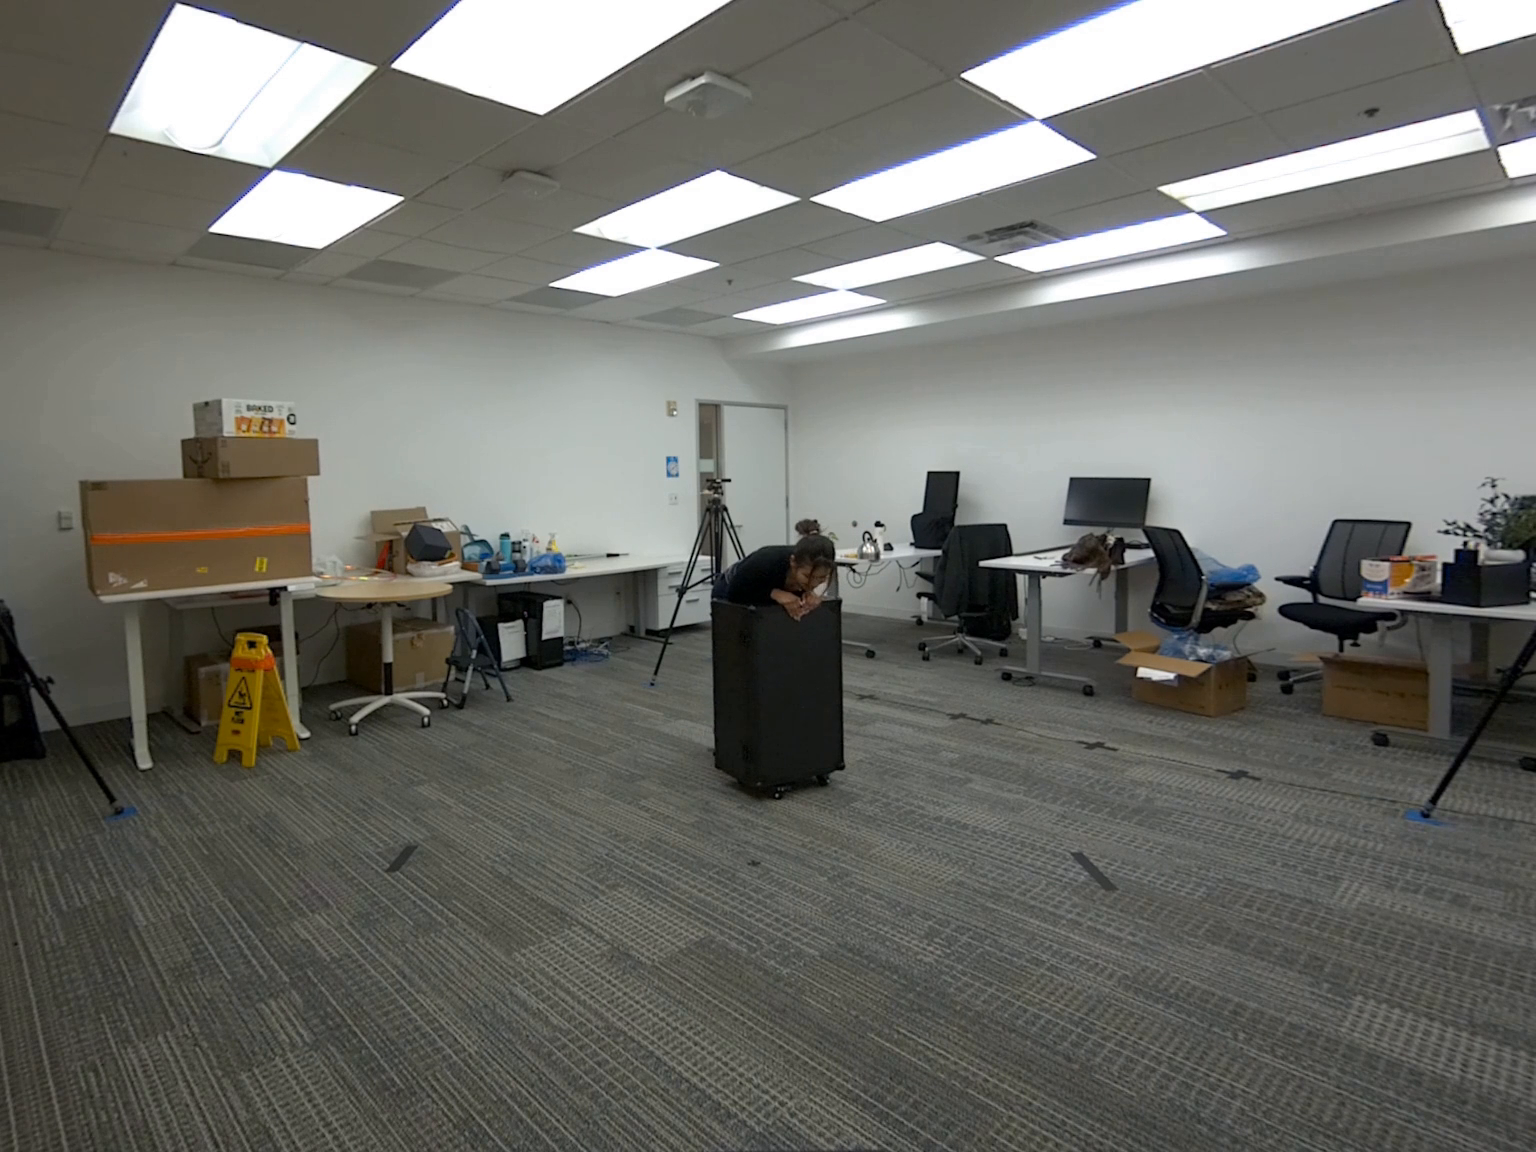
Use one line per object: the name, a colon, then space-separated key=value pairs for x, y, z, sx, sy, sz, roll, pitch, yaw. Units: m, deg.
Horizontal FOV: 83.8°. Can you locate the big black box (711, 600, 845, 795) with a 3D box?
big black box: x=0.034 y=0.532 z=3.899 sx=0.509 sy=0.859 sz=0.407 roll=-4 pitch=3 yaw=-32
